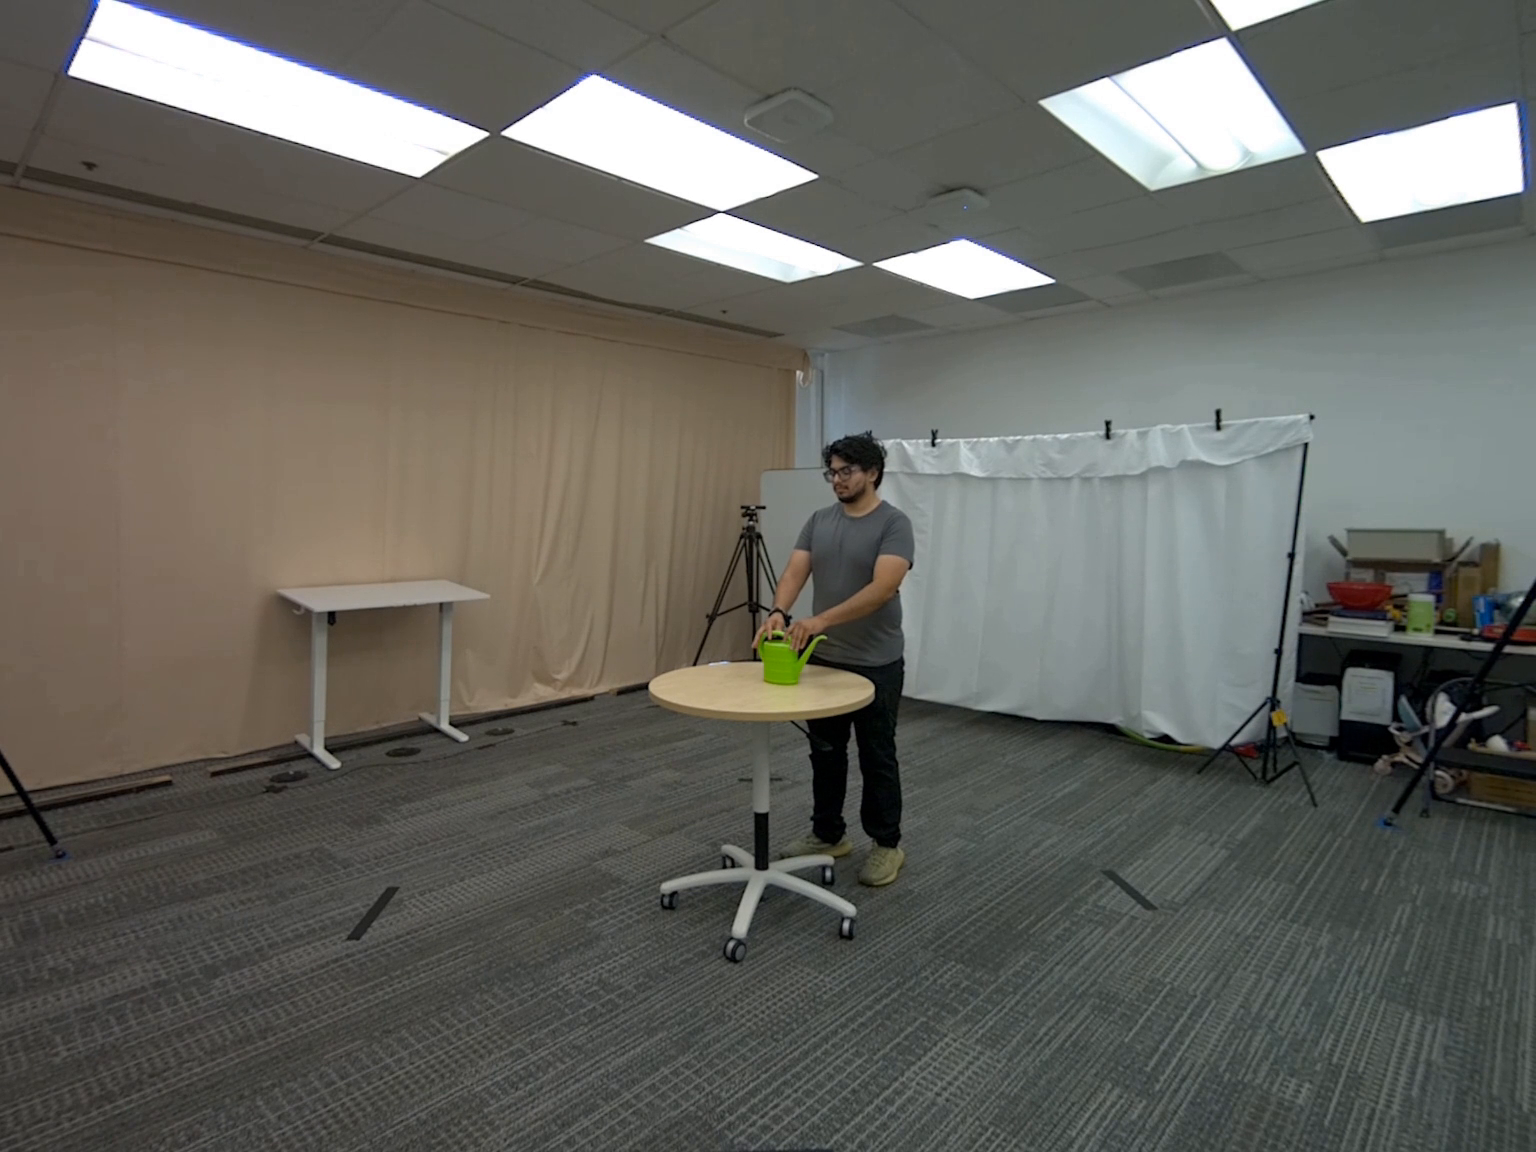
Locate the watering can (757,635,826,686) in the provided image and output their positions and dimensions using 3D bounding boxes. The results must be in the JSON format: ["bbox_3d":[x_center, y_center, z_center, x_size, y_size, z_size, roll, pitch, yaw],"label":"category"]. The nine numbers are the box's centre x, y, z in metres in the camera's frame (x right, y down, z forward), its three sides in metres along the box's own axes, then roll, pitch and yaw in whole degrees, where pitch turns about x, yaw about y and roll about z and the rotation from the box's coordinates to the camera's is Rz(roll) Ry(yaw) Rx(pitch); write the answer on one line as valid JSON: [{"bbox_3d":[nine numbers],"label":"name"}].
[{"bbox_3d":[0.072,0.281,2.876,0.095,0.176,0.287,-4,3,-41],"label":"watering can"}]
